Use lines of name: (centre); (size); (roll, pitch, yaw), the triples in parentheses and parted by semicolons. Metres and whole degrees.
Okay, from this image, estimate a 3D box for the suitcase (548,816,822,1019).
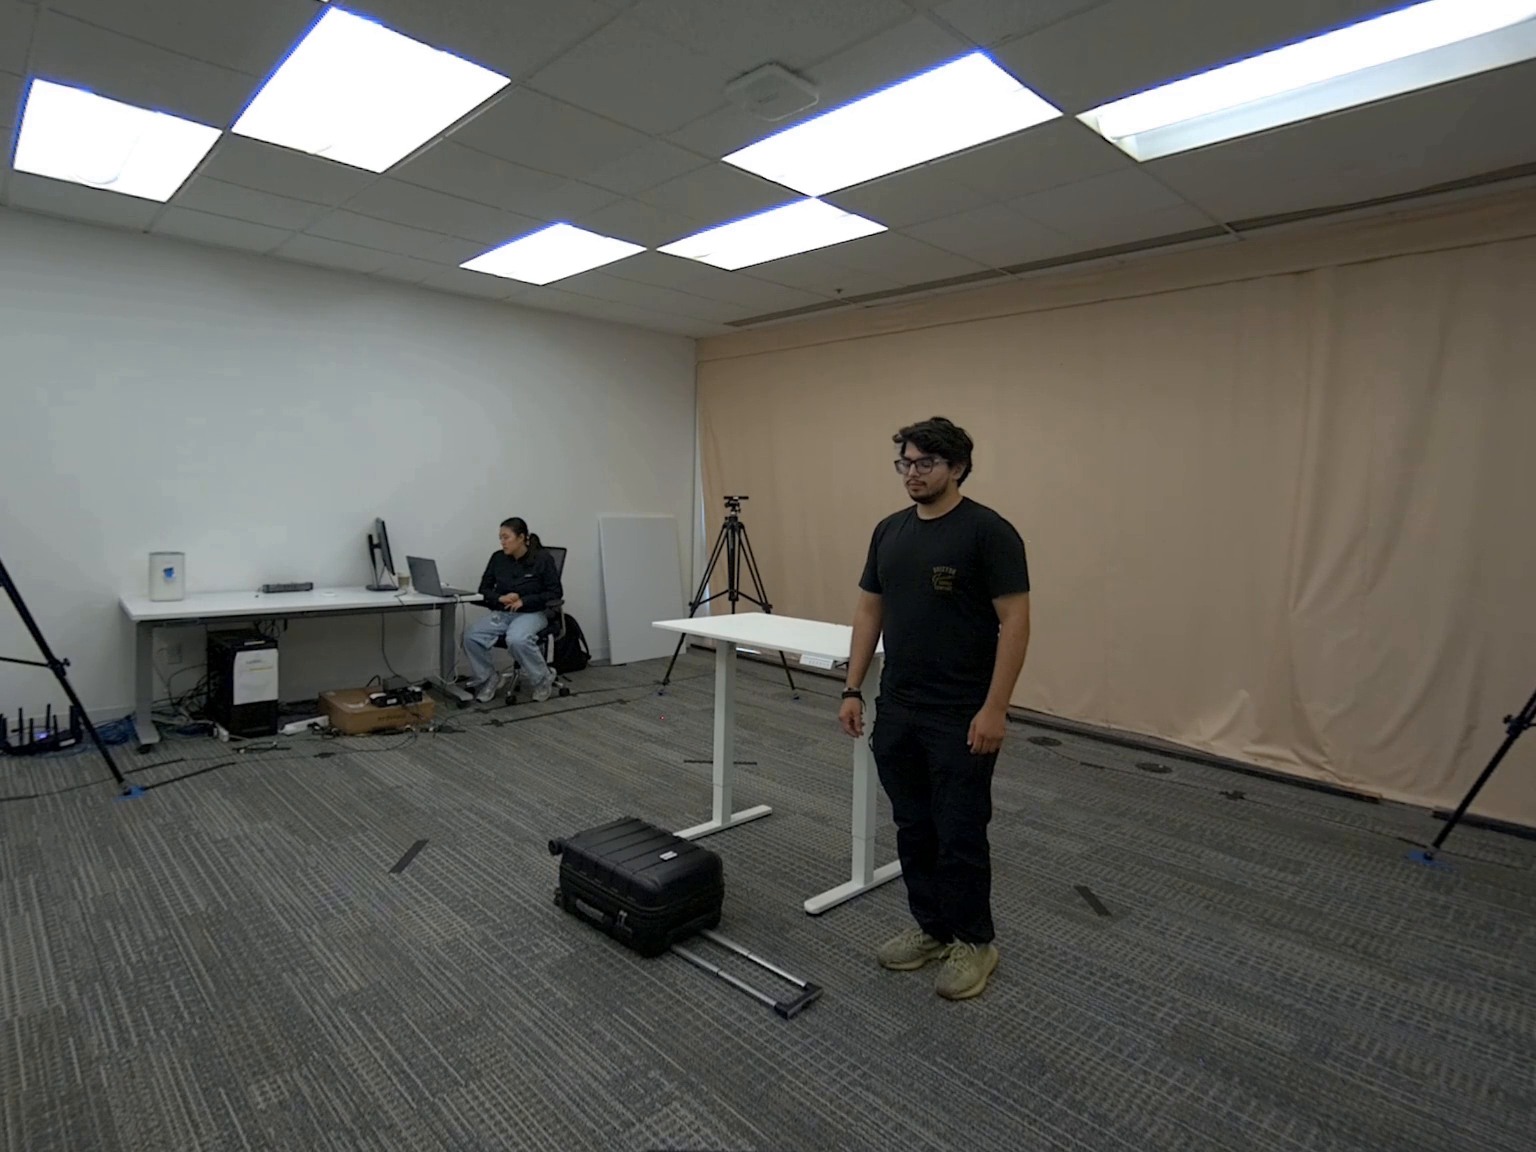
suitcase: (-0.274, 1.021, 2.629); (1.003, 0.256, 0.375); (5, 5, 42)
